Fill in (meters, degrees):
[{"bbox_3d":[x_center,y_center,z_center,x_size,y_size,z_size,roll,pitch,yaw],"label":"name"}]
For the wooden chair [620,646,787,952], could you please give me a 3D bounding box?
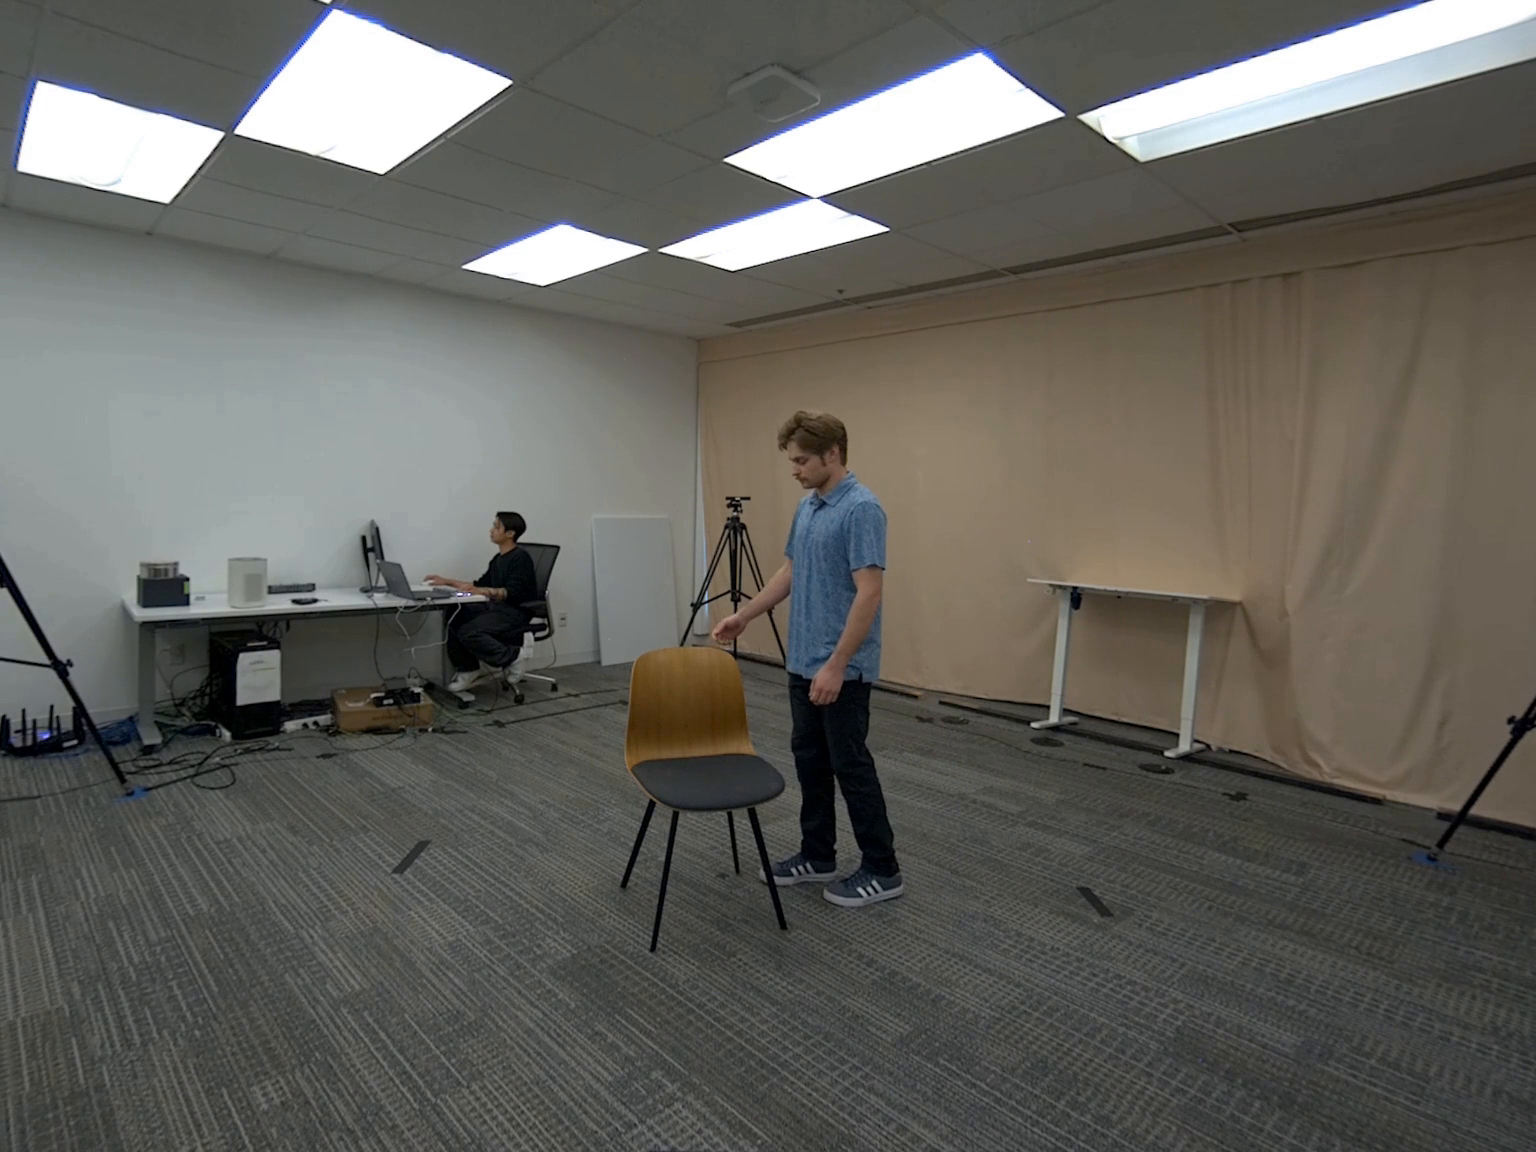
[{"bbox_3d":[-0.224,0.705,2.812,0.471,0.878,0.531,0,-1,-21],"label":"wooden chair"}]
